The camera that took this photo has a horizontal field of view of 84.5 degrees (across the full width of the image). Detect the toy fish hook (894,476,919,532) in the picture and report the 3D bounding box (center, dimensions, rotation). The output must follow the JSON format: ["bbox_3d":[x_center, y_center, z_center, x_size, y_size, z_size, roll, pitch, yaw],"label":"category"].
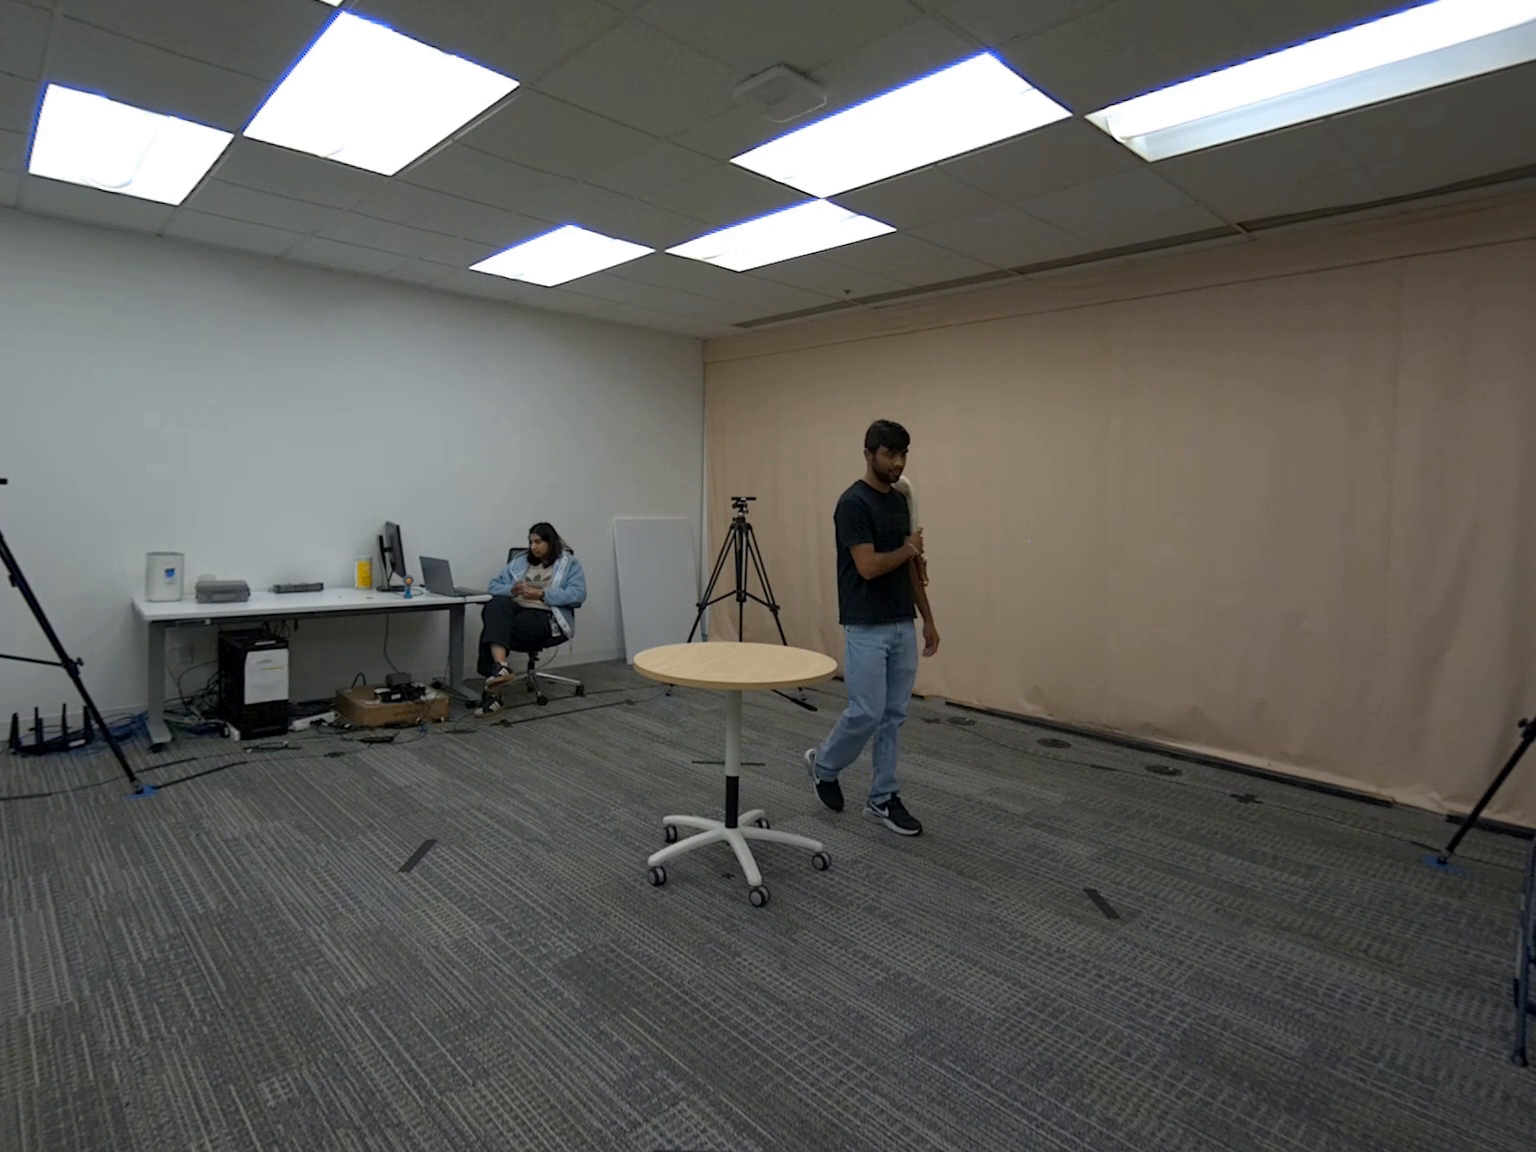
[{"bbox_3d":[0.583,-0.197,3.738,0.047,0.510,0.227,-5,-10,-29],"label":"toy fish hook"}]
